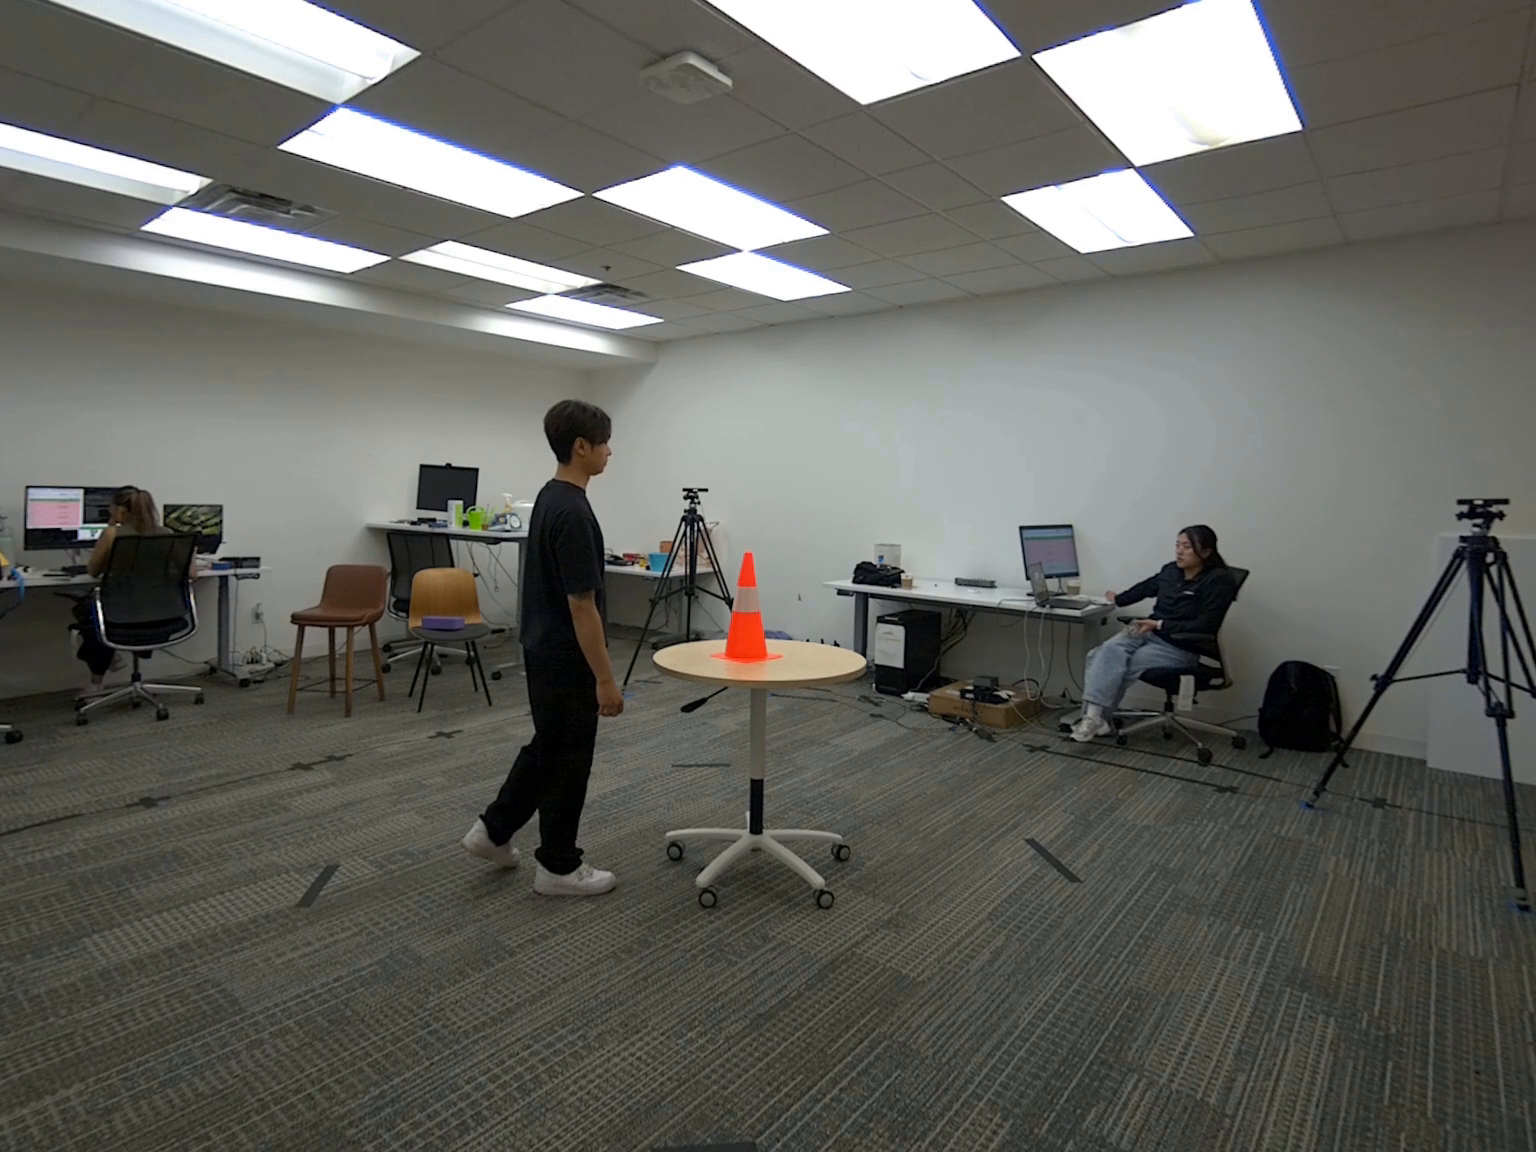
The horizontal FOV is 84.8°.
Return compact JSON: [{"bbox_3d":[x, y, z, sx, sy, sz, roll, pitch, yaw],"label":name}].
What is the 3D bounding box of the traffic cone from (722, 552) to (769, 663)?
[{"bbox_3d":[-0.085,0.106,3.084,0.212,0.382,0.197,4,5,39],"label":"traffic cone"}]
